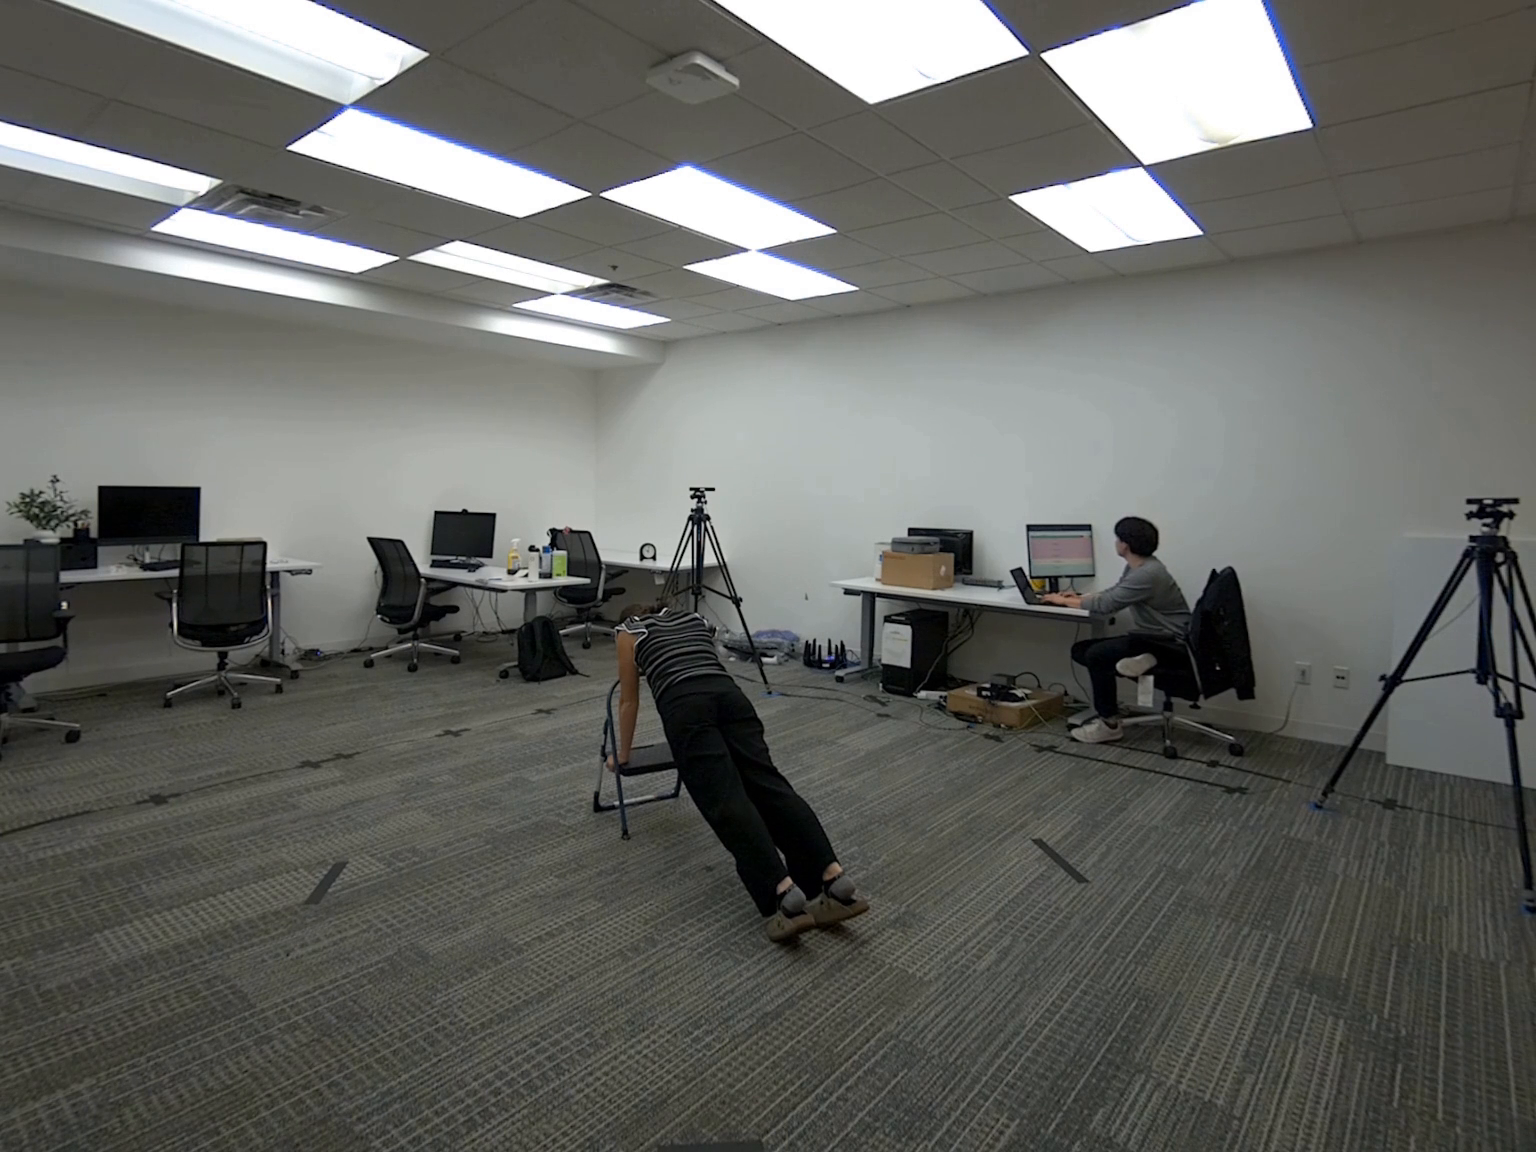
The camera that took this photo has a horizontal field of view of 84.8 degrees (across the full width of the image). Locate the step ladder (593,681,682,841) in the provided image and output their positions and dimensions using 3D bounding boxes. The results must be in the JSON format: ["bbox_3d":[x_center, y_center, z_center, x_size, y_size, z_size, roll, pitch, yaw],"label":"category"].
[{"bbox_3d":[-0.496,0.714,3.593,0.418,0.605,0.360,-1,3,-34],"label":"step ladder"}]
